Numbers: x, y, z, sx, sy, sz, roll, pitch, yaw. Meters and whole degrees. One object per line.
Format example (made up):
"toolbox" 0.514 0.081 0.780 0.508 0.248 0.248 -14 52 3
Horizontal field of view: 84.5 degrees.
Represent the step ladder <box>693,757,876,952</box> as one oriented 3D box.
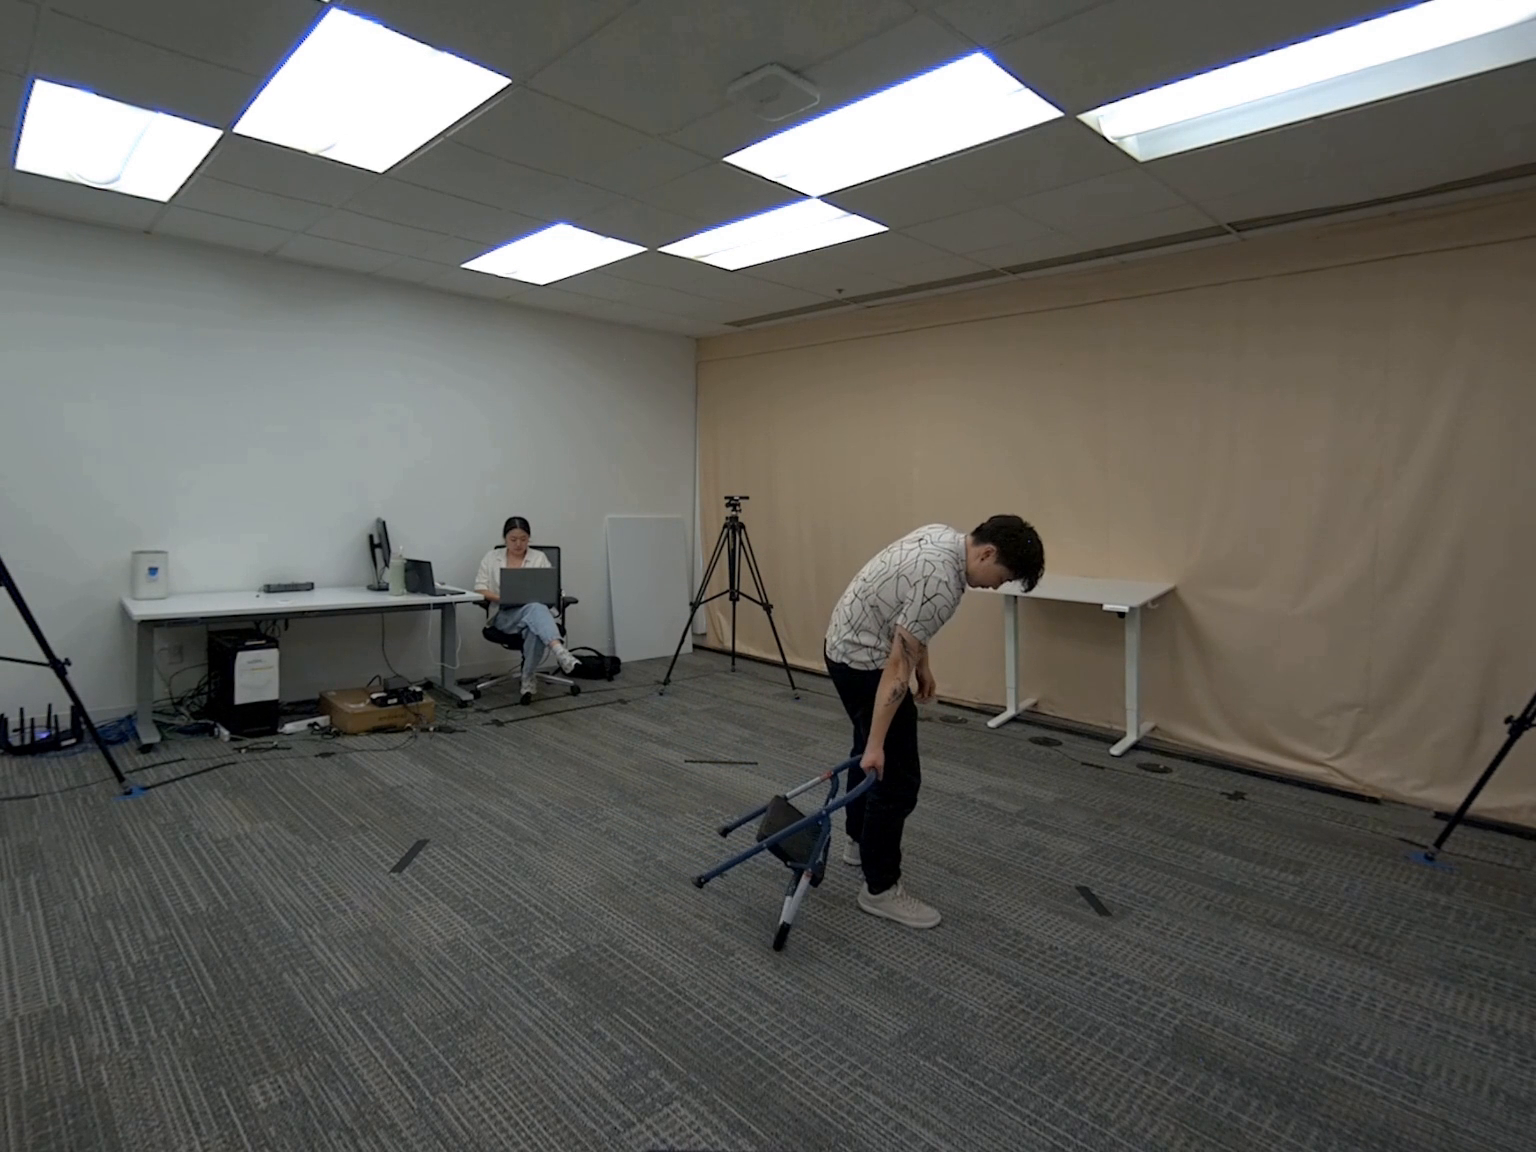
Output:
"step ladder" 0.103 0.805 2.750 0.351 0.605 0.428 37 9 4
